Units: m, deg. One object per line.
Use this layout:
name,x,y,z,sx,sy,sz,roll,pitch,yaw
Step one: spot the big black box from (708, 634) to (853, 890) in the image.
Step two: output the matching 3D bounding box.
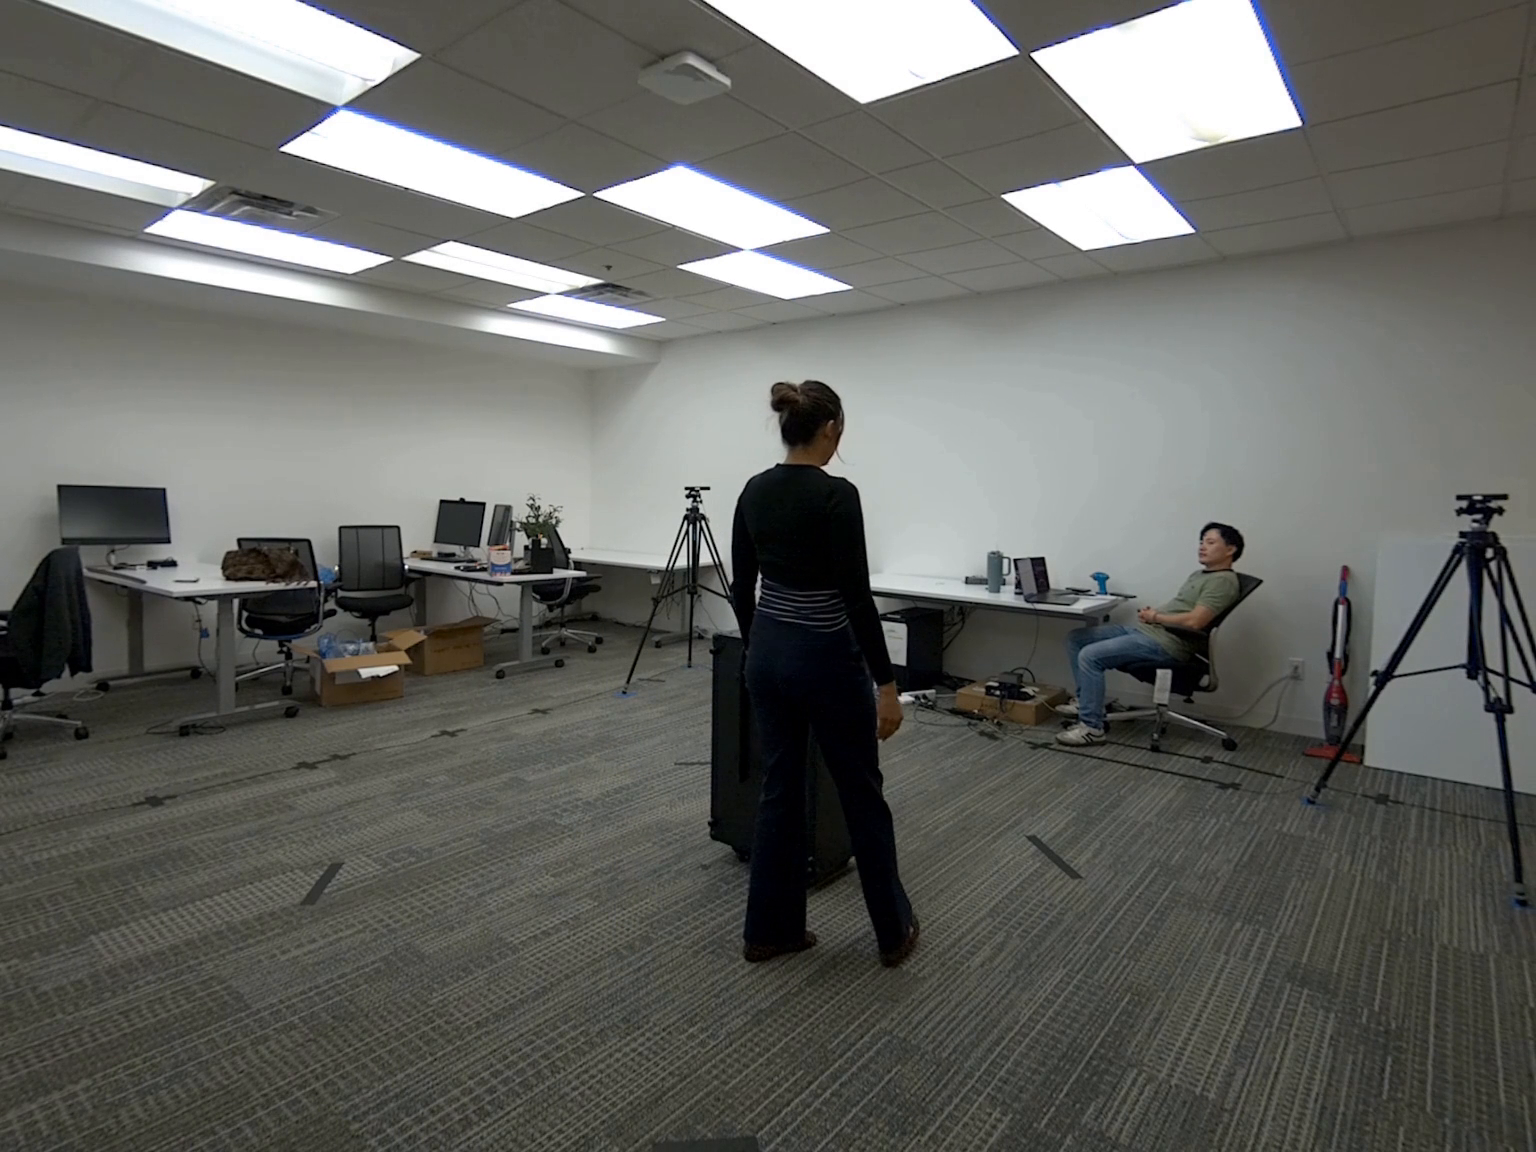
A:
big black box,0.065,0.582,3.140,0.539,0.858,0.384,5,5,41
